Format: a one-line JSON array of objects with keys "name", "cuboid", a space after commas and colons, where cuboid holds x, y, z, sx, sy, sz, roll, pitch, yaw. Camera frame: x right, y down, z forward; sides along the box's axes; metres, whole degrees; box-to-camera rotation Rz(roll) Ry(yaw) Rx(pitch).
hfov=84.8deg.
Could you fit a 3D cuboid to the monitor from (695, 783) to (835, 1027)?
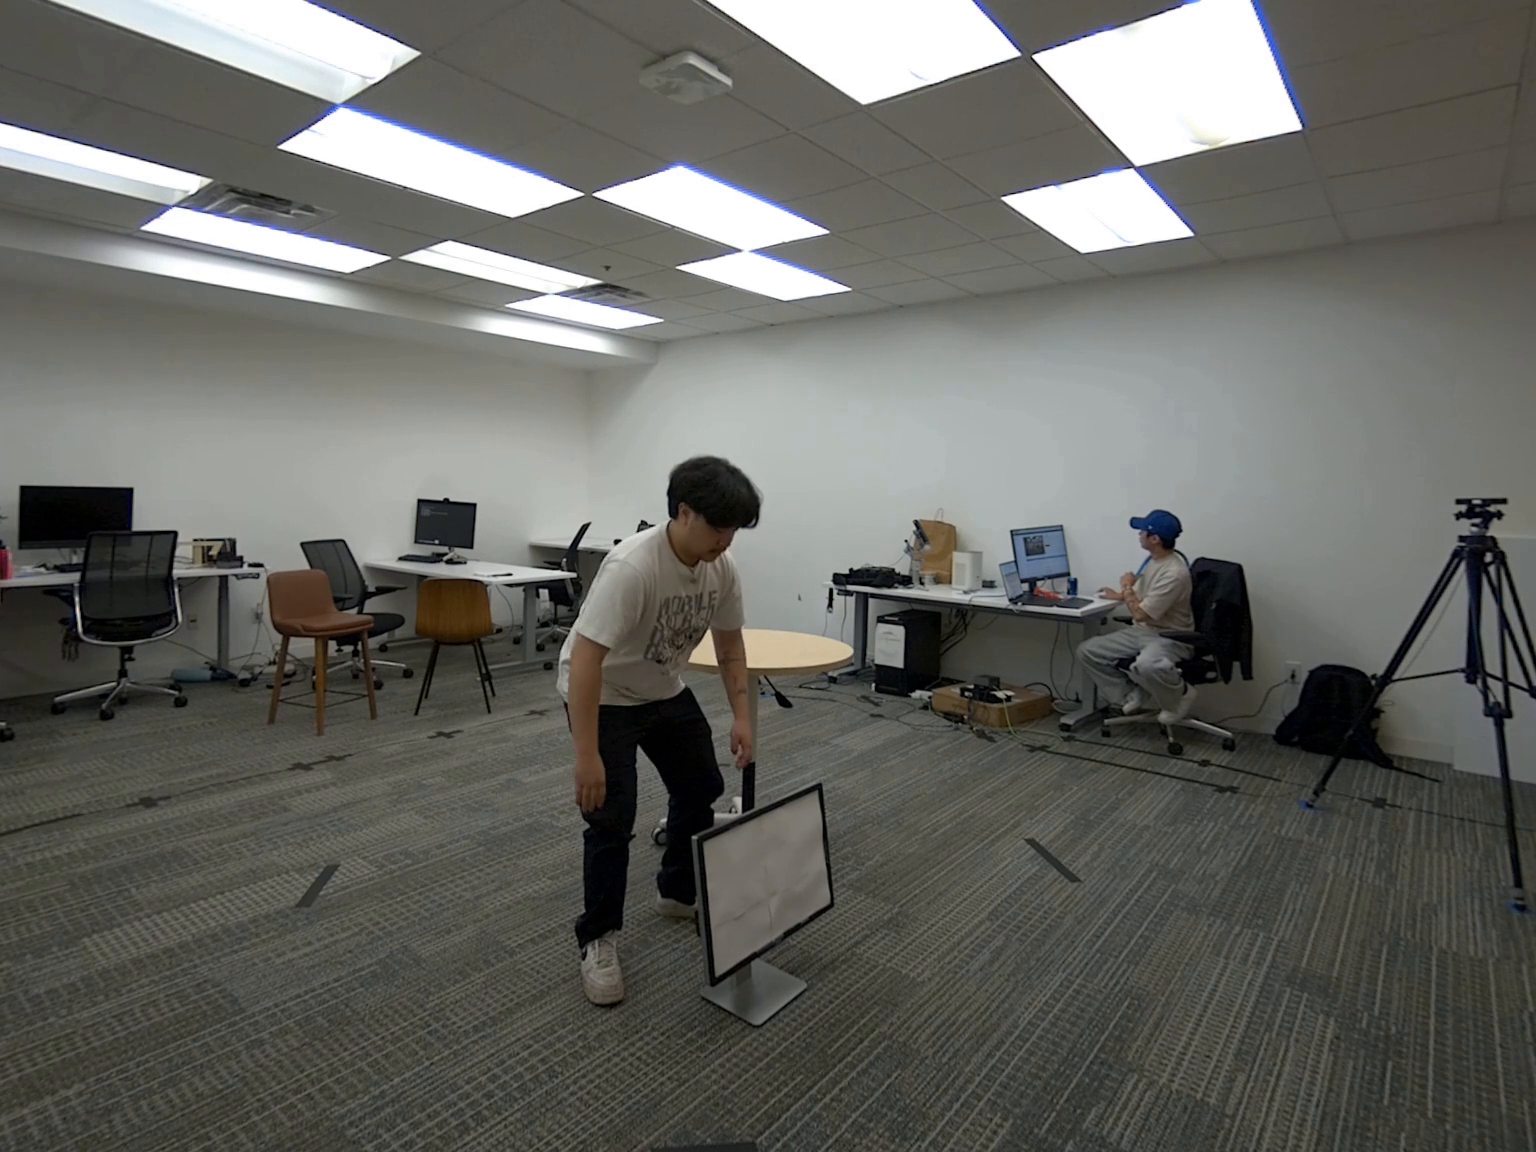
[{"name": "monitor", "cuboid": [-0.052, 0.893, 2.354, 0.217, 0.553, 0.549, 0, 3, 39]}]
